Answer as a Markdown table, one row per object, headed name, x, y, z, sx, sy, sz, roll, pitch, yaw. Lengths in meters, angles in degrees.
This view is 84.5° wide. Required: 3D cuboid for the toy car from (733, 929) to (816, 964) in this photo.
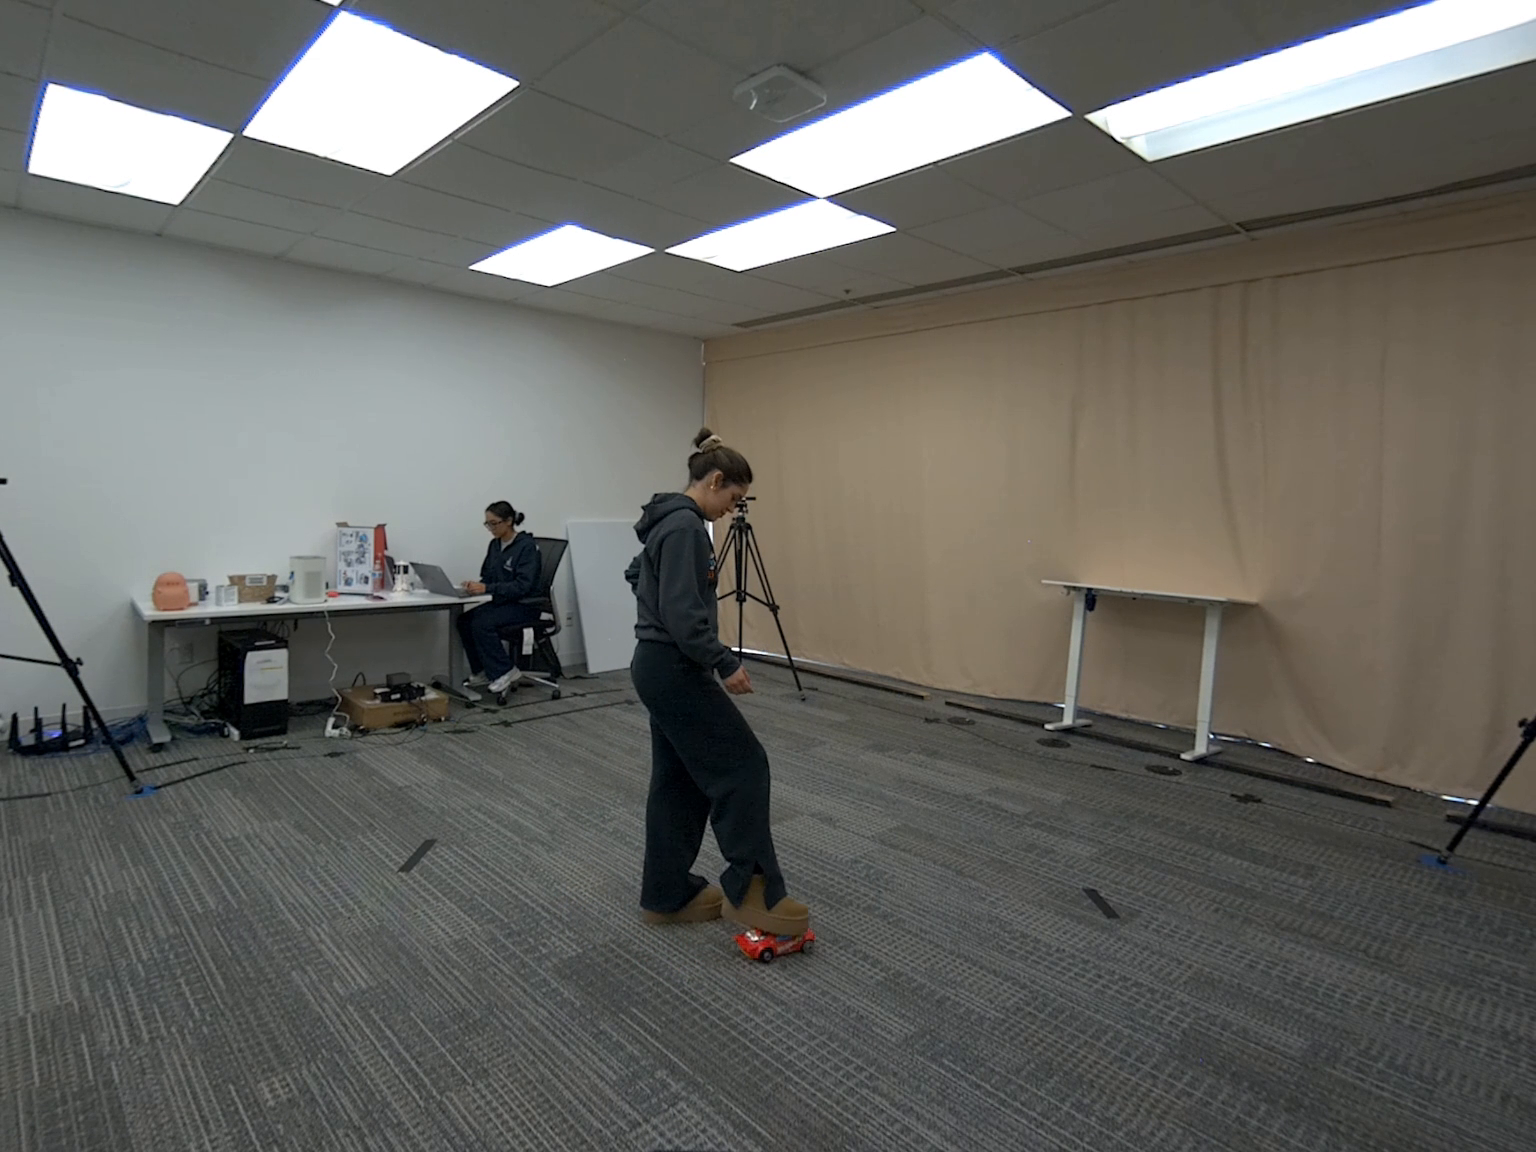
| name | x | y | z | sx | sy | sz | roll | pitch | yaw |
| --- | --- | --- | --- | --- | --- | --- | --- | --- | --- |
| toy car | 0.013 | 1.126 | 2.601 | 0.249 | 0.083 | 0.133 | 11 | 0 | -24 |
